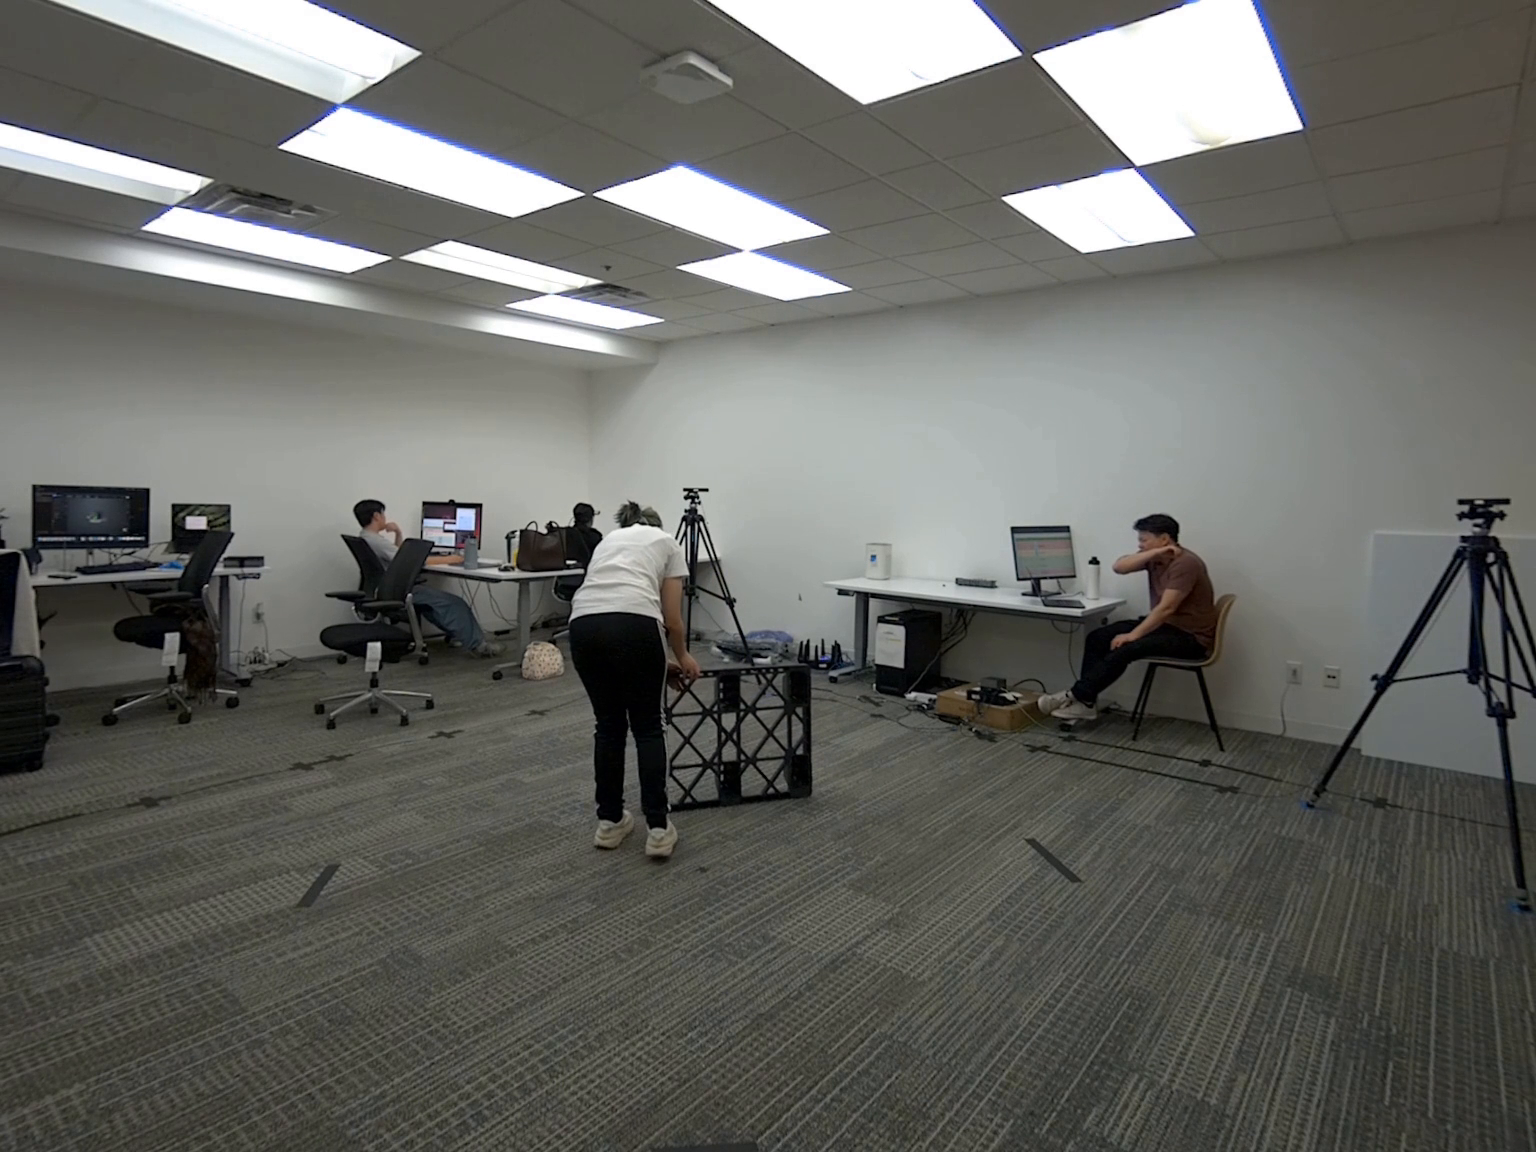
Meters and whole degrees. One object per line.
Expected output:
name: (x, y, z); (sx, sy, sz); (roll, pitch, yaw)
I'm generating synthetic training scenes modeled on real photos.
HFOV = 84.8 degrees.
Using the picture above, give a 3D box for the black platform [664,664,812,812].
black platform: (-0.195, 0.712, 3.810); (0.789, 0.606, 0.146); (0, -1, -20)
